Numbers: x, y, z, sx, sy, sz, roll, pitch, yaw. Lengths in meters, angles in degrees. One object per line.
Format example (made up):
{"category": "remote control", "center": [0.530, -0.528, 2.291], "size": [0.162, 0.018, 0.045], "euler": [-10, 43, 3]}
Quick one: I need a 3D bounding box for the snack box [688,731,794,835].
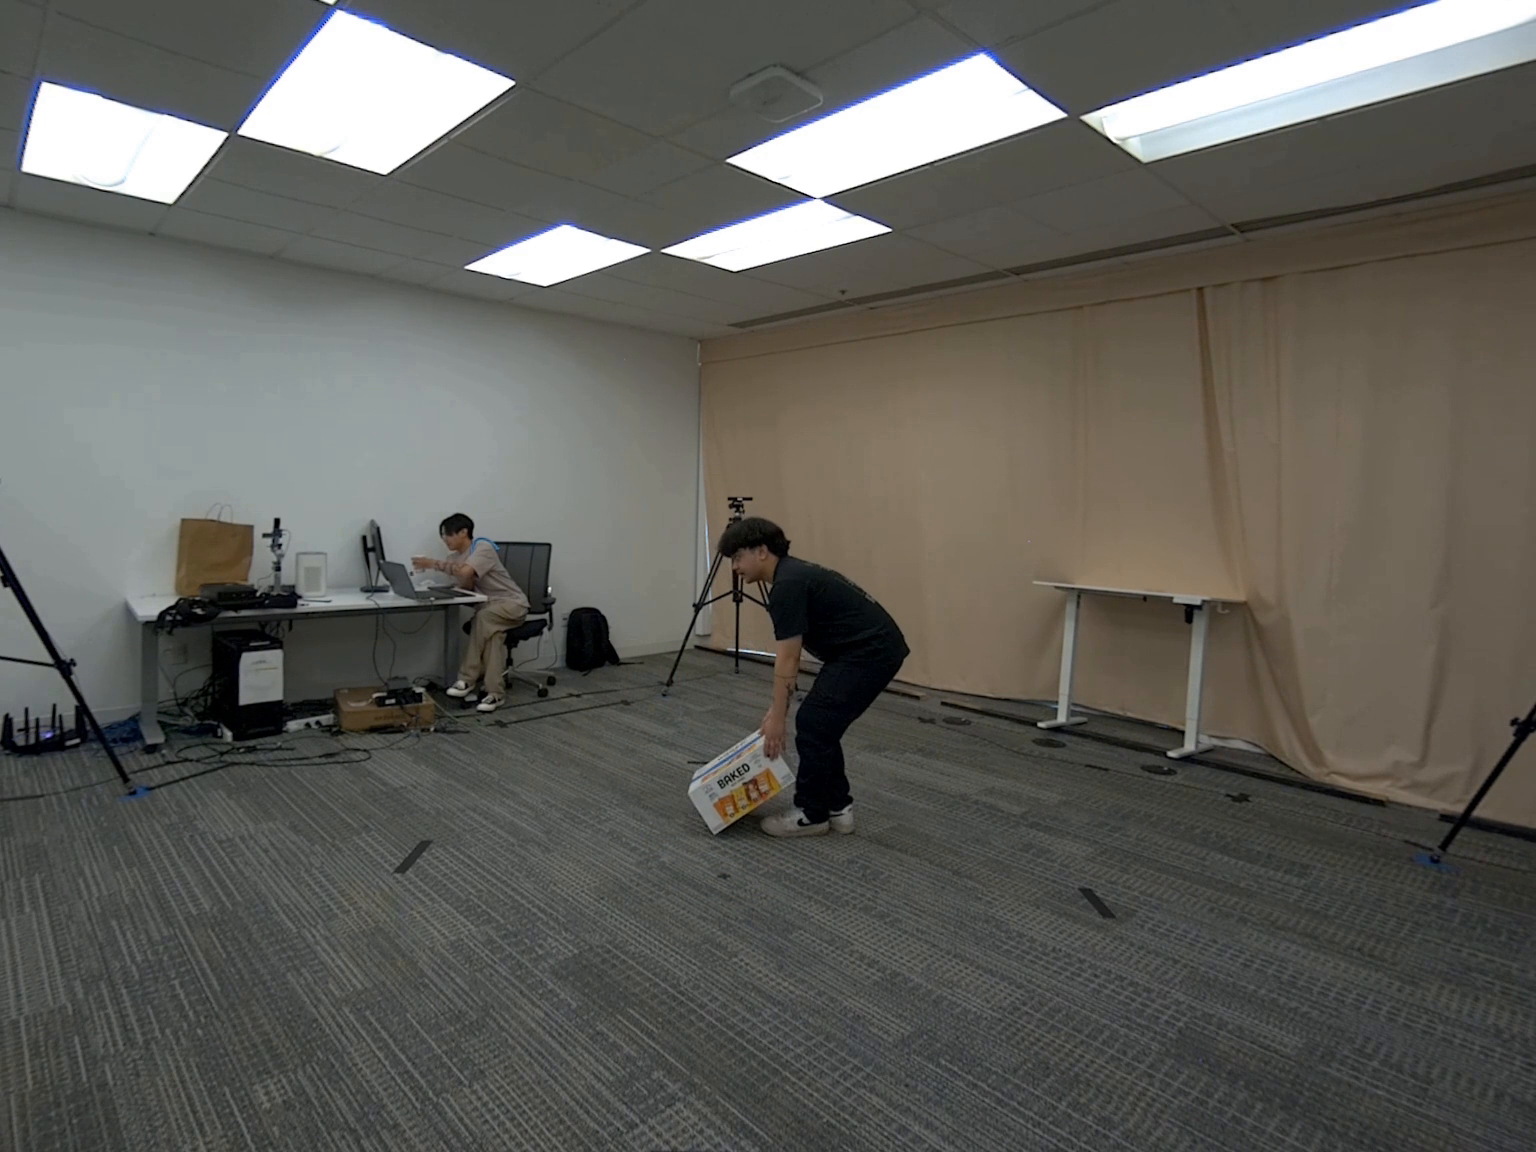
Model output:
{"category": "snack box", "center": [-0.116, 0.858, 3.601], "size": [0.405, 0.206, 0.340], "euler": [-34, 1, 1]}
